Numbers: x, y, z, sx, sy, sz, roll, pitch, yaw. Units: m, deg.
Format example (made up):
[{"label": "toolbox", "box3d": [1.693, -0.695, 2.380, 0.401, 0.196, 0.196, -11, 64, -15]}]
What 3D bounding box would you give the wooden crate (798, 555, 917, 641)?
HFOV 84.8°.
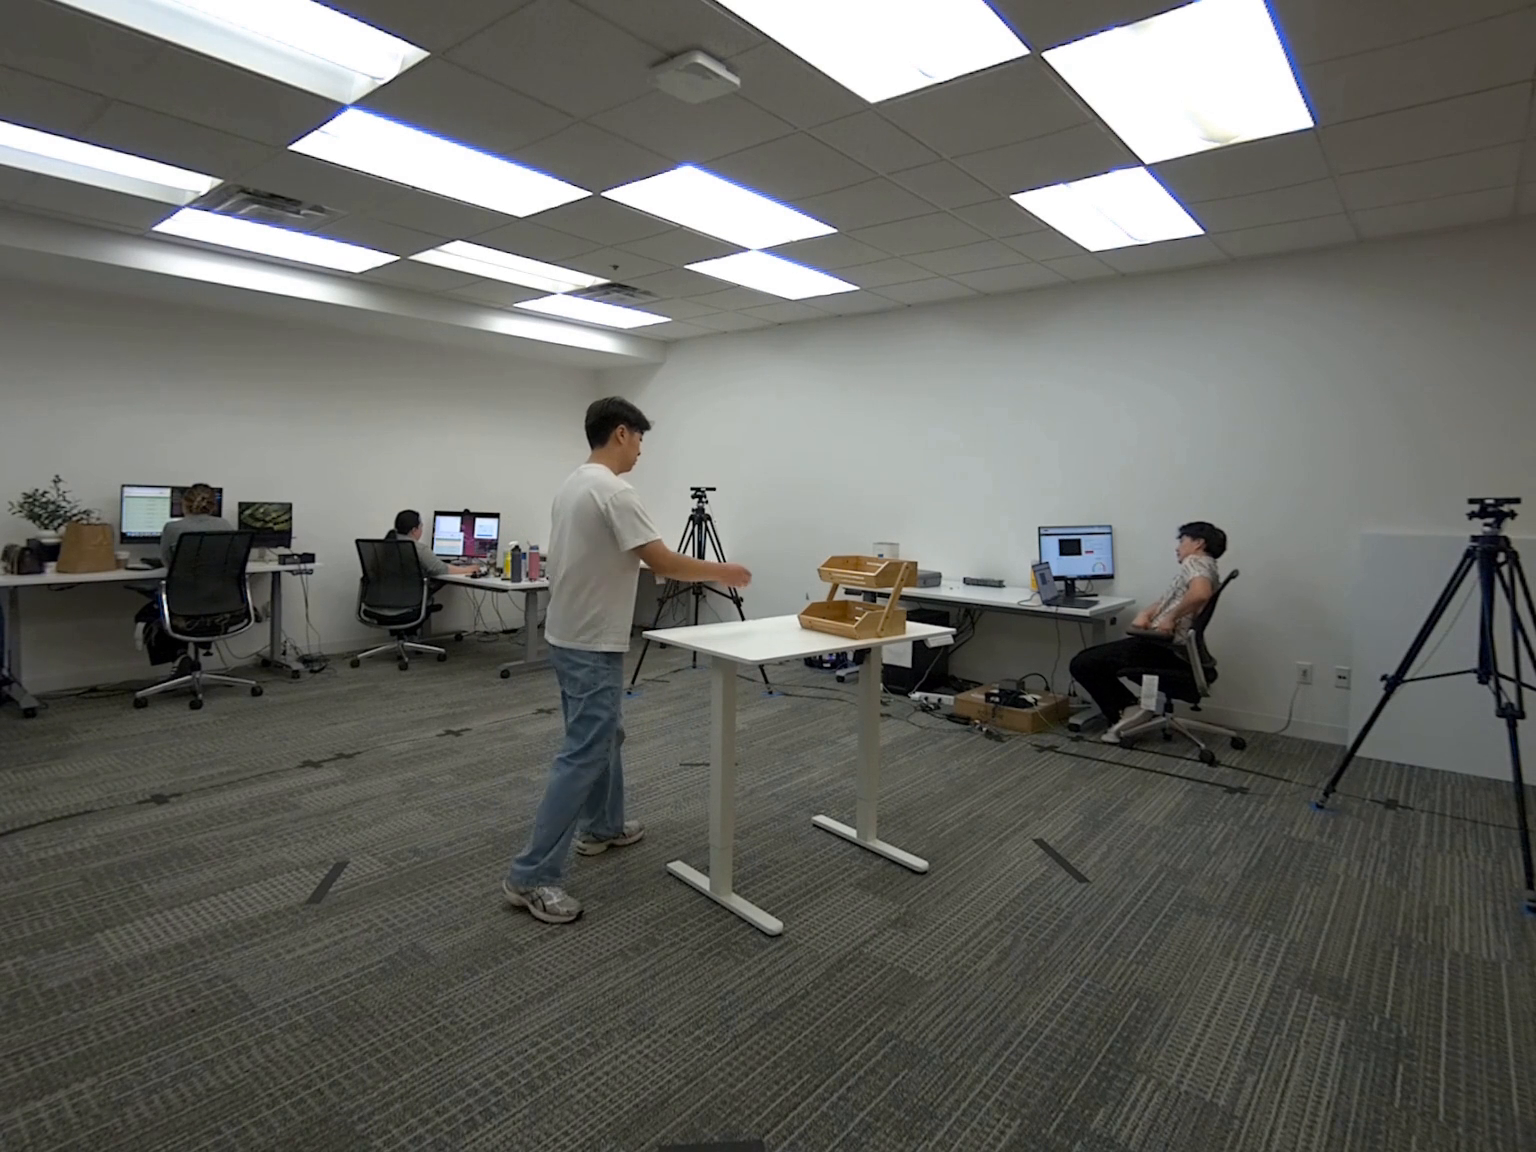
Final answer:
[{"label": "wooden crate", "box3d": [0.311, 0.064, 3.072, 0.293, 0.272, 0.335, -2, 6, -37]}]
